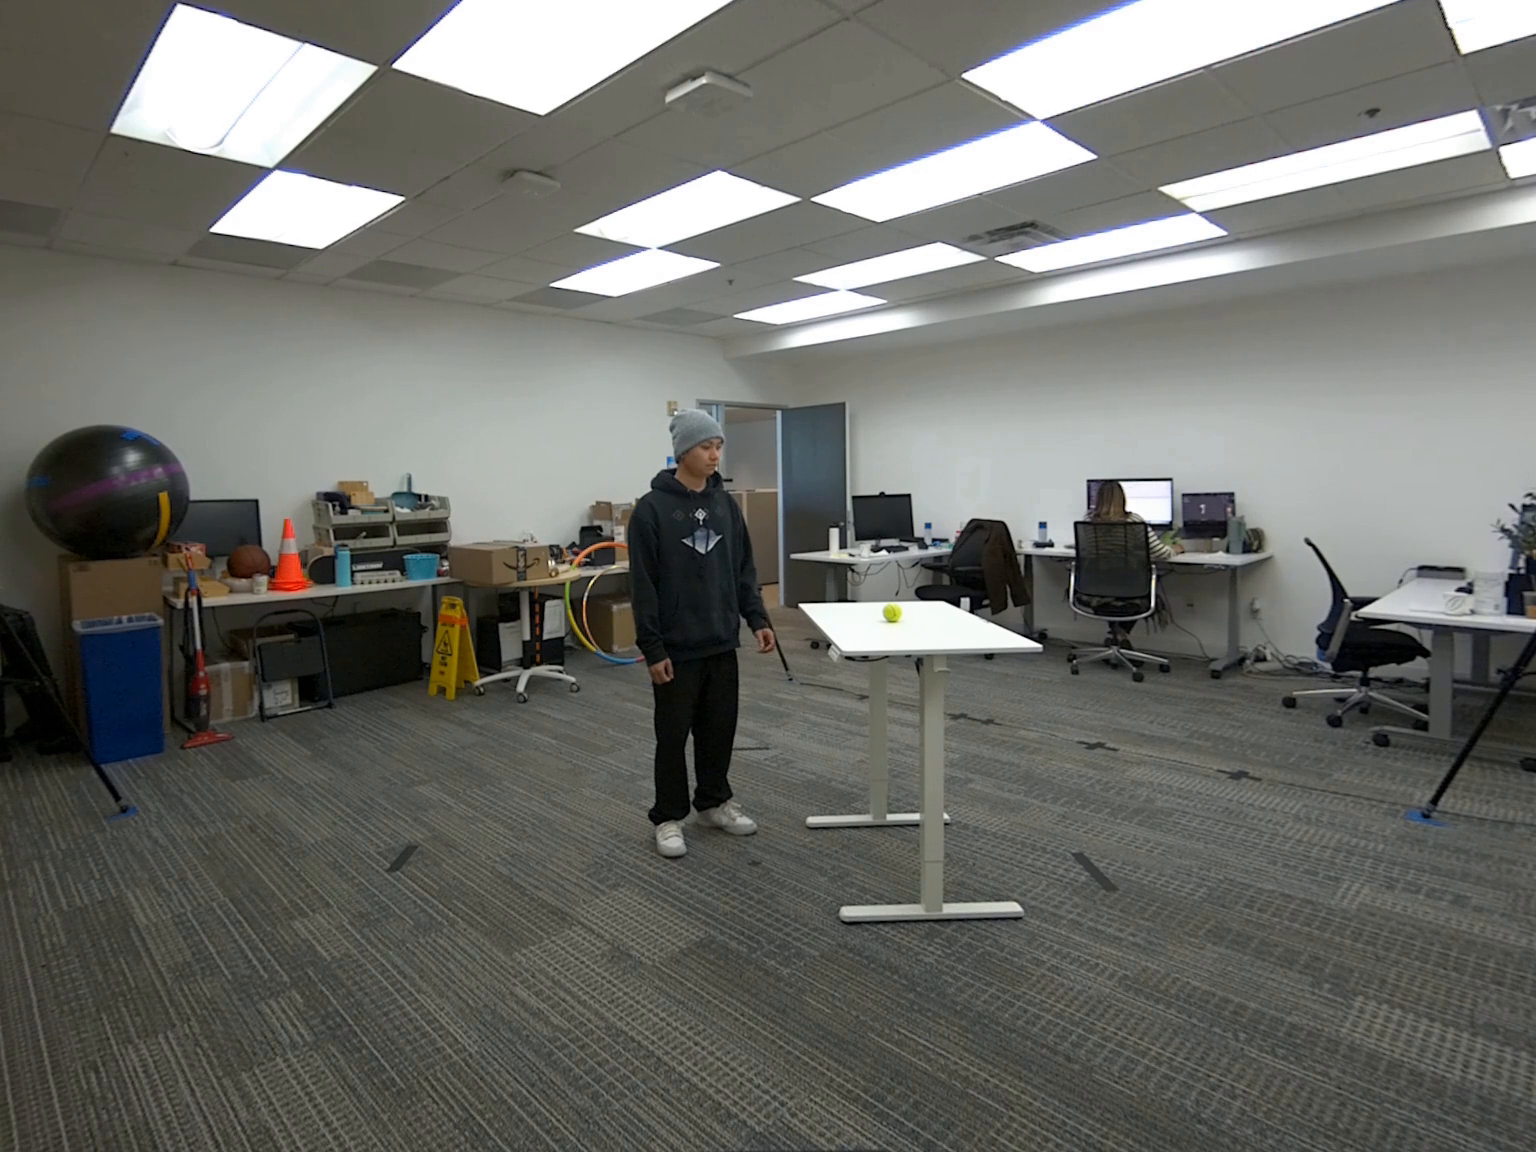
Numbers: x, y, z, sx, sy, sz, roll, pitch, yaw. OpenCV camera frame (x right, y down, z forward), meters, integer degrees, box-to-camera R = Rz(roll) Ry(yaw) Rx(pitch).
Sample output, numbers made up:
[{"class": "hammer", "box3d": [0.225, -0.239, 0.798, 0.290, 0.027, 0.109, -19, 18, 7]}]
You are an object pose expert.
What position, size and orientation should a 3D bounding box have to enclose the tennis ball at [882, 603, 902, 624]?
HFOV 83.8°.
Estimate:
[{"class": "tennis ball", "box3d": [0.435, 0.128, 3.029, 0.066, 0.066, 0.067, -1, 5, -2]}]
